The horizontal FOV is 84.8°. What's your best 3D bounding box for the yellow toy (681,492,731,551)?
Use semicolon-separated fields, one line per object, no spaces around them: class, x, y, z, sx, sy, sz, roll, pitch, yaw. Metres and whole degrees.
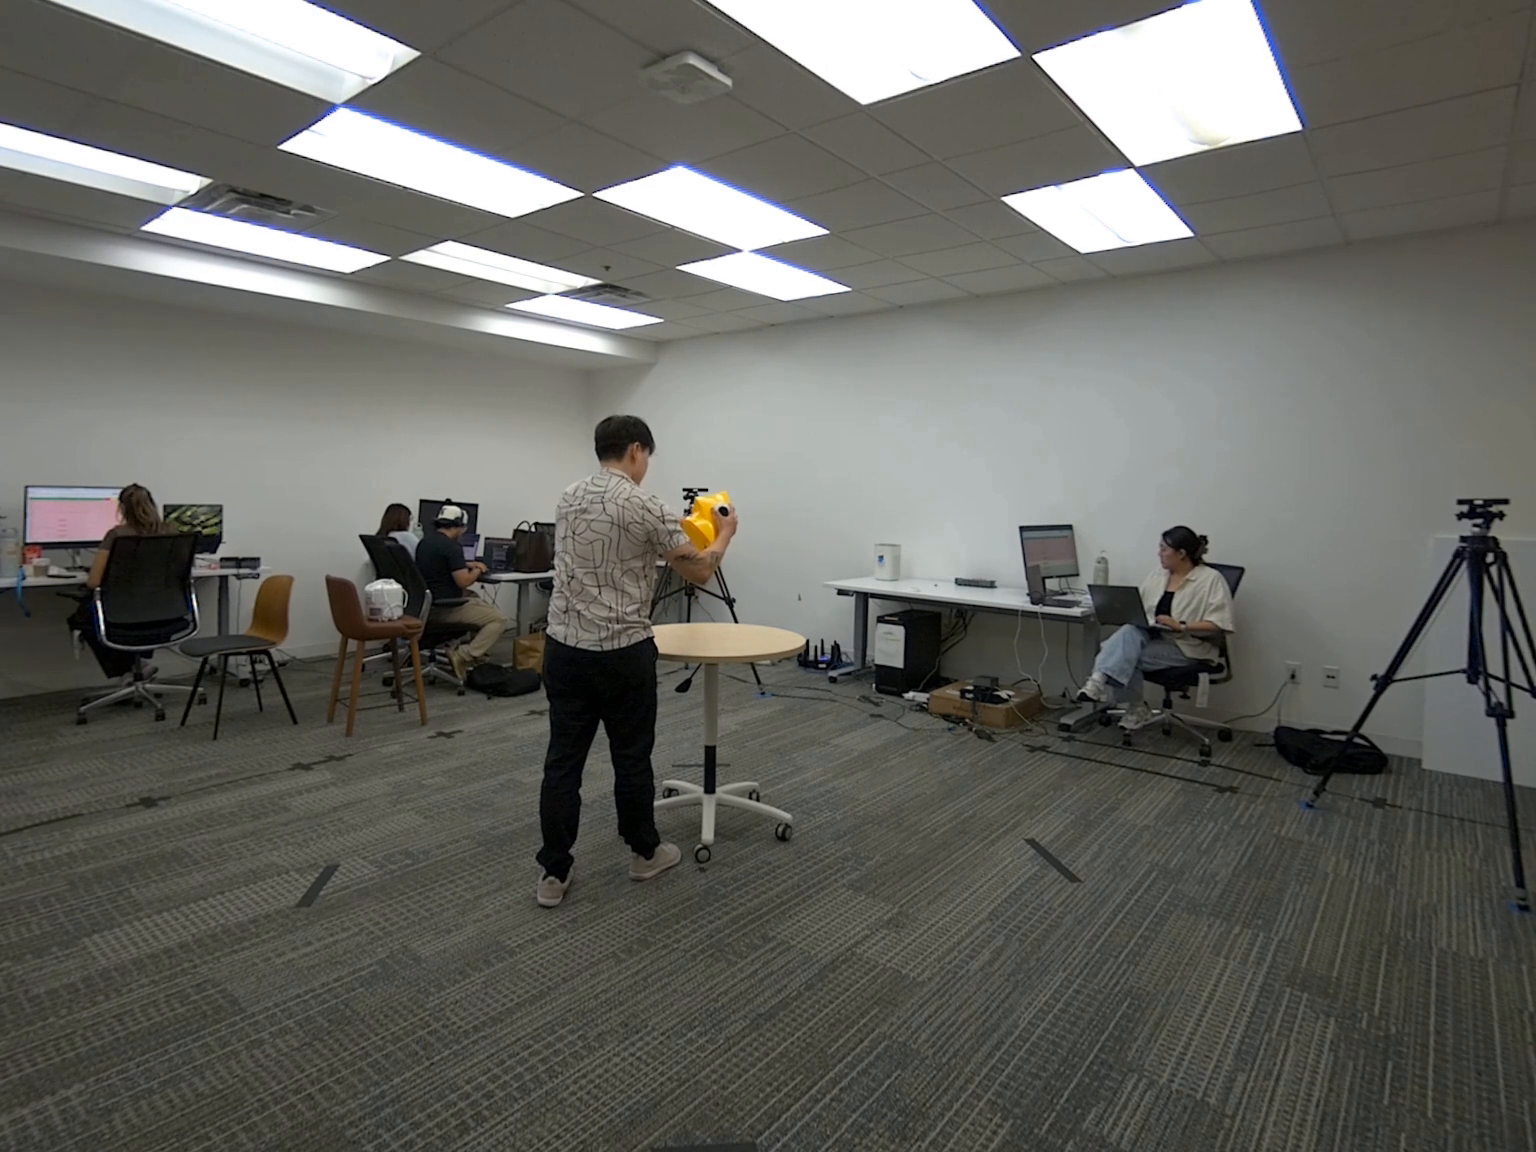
yellow toy;-0.212;-0.215;3.233;0.230;0.196;0.202;-43;-12;-23
